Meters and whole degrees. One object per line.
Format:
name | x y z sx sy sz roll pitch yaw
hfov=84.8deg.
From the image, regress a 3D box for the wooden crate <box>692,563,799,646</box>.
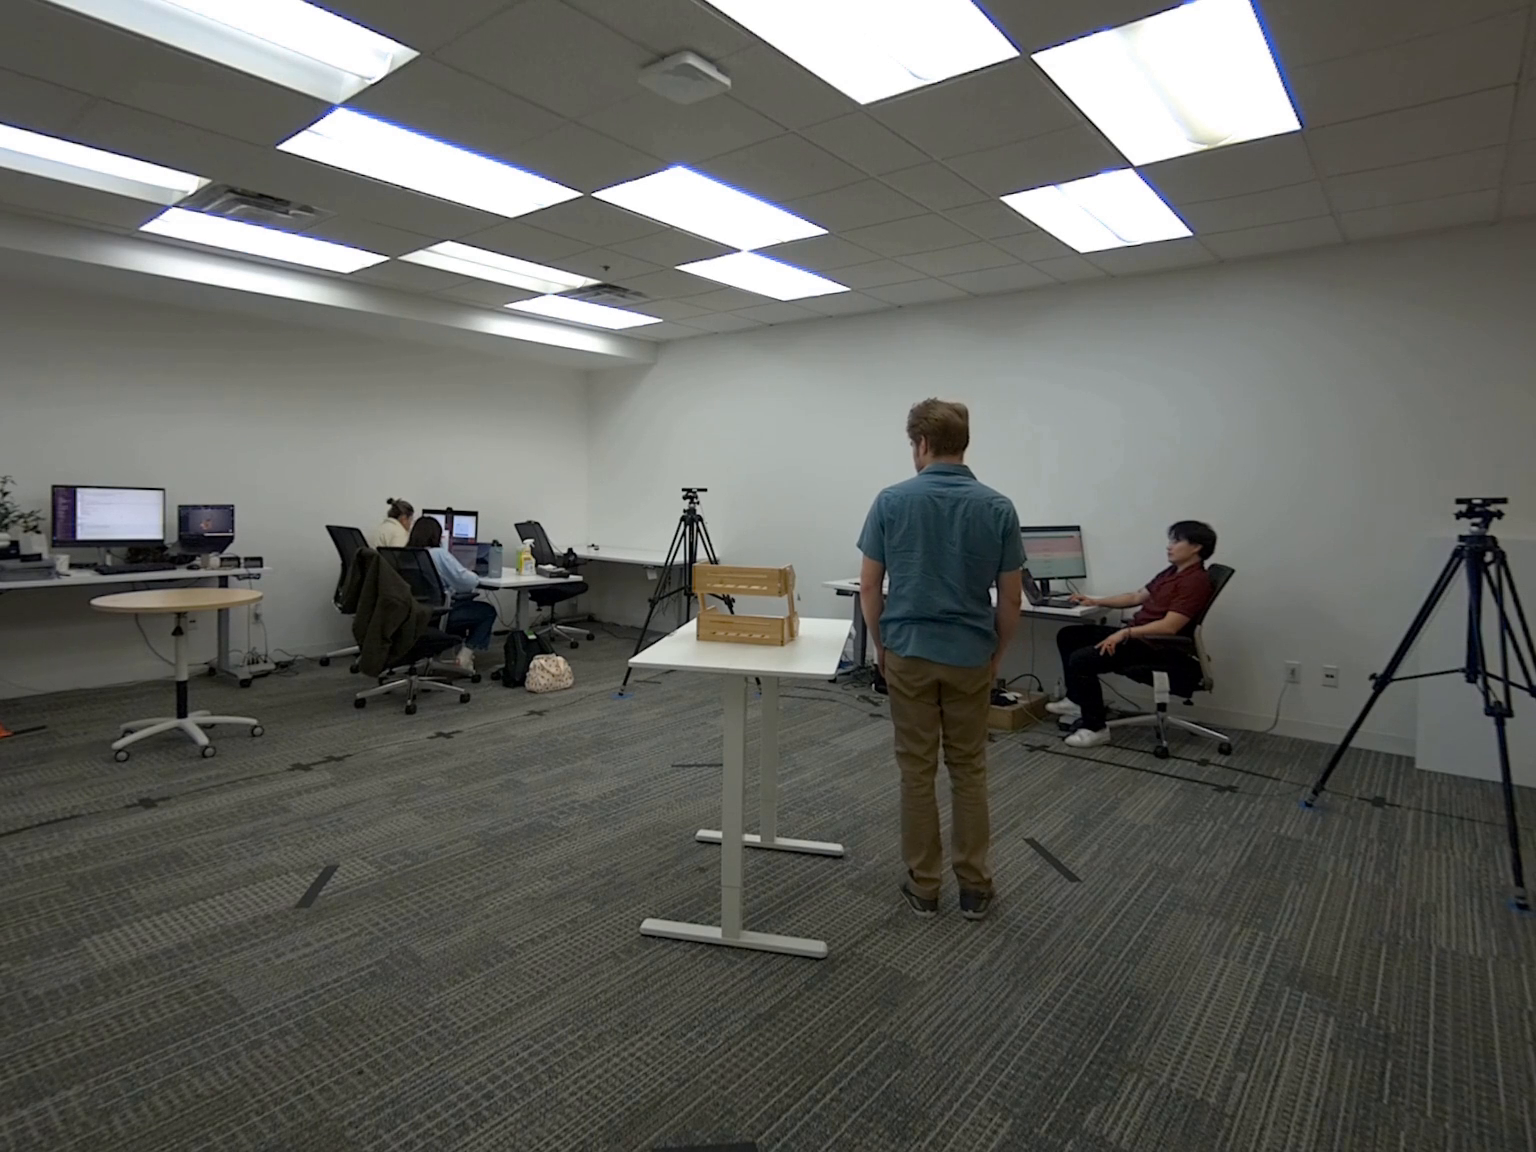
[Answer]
wooden crate | -0.074 0.077 2.898 0.330 0.272 0.298 2 5 16
